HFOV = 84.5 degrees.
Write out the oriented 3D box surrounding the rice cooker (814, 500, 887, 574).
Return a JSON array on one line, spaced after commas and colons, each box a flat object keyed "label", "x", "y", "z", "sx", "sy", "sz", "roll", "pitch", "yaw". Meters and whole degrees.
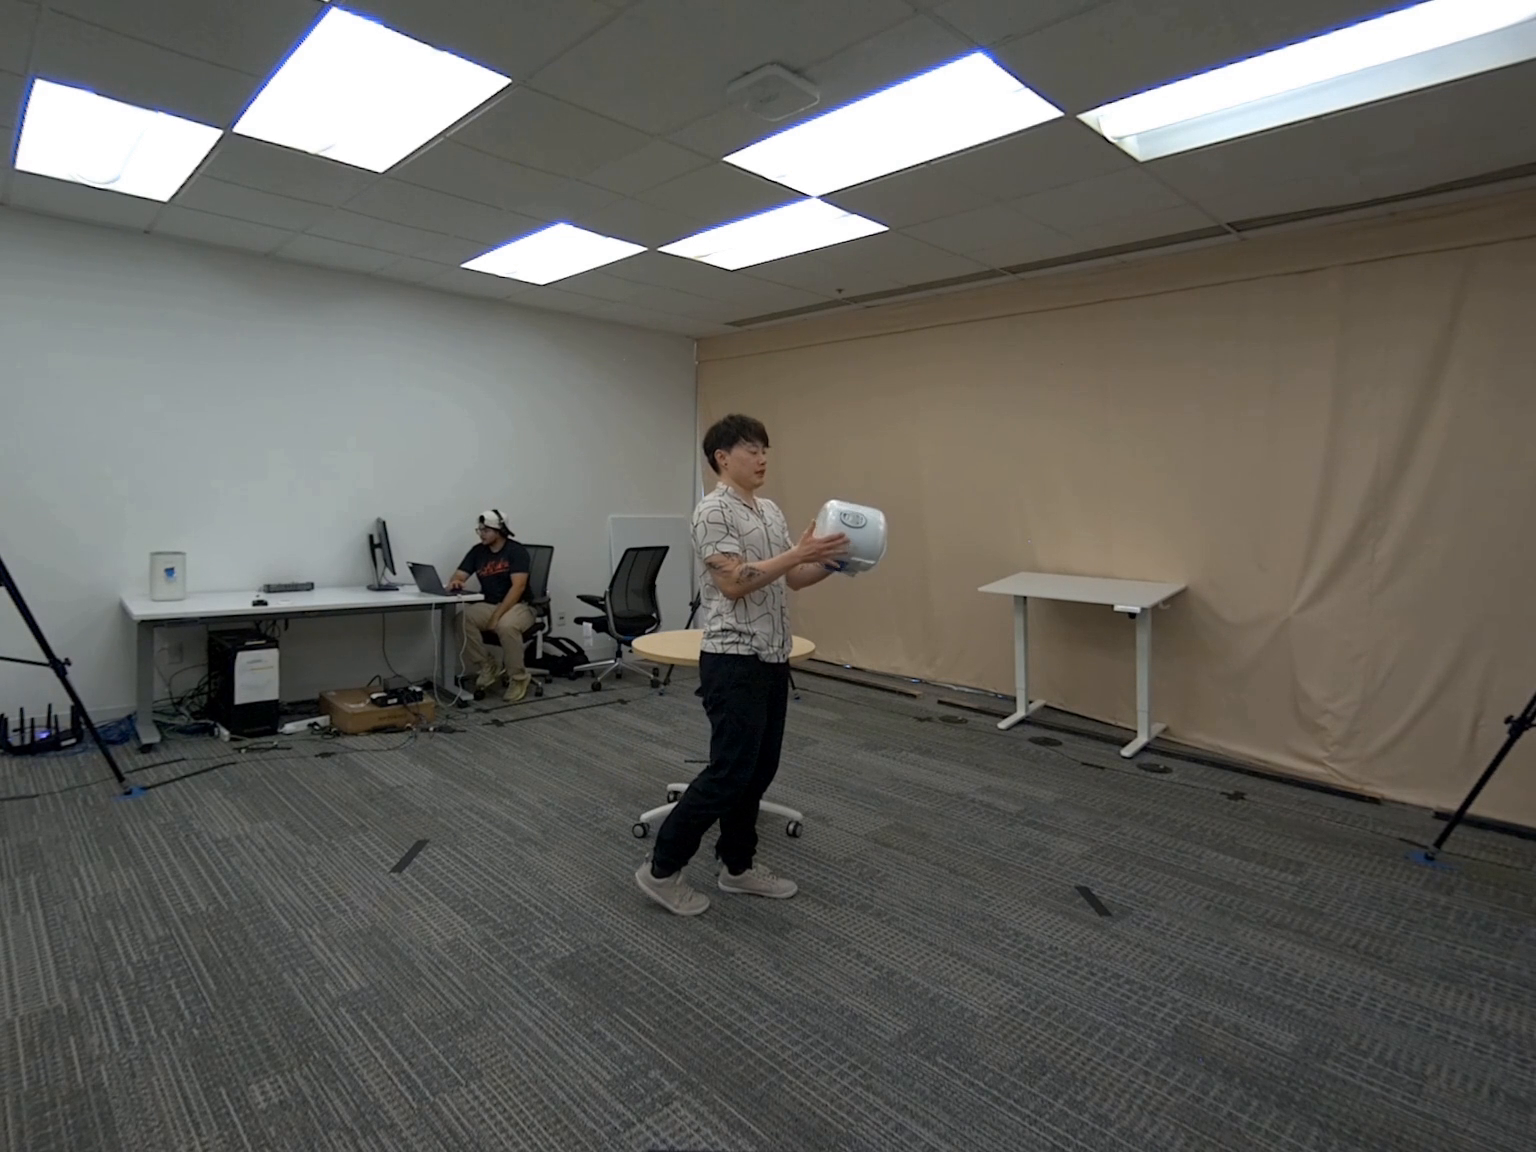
[{"label": "rice cooker", "x": 0.270, "y": -0.132, "z": 2.781, "sx": 0.231, "sy": 0.224, "sz": 0.215, "roll": 11, "pitch": -26, "yaw": -7}]
